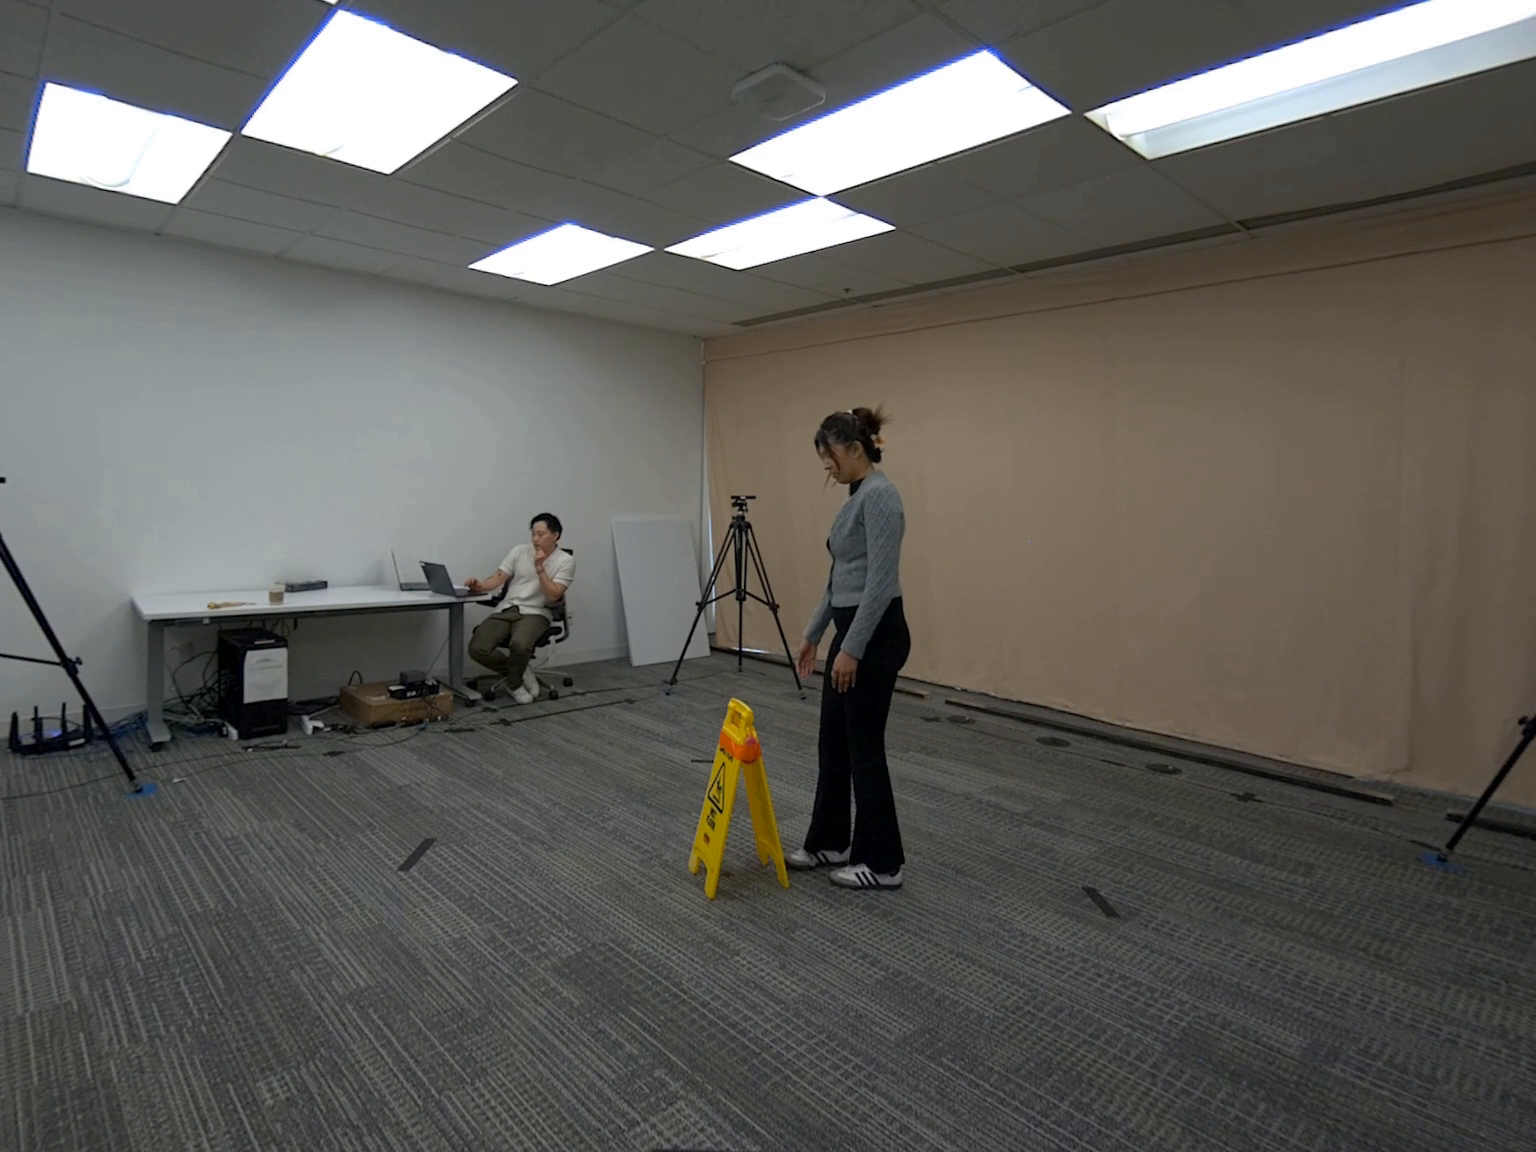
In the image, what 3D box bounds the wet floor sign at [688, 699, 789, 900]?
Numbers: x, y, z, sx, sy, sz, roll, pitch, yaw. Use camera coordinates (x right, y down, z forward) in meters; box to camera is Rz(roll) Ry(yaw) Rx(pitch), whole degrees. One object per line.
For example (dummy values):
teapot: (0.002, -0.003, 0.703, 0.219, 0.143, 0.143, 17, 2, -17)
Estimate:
wet floor sign: (-0.113, 0.778, 3.060, 0.285, 0.645, 0.287, 0, 3, -20)
